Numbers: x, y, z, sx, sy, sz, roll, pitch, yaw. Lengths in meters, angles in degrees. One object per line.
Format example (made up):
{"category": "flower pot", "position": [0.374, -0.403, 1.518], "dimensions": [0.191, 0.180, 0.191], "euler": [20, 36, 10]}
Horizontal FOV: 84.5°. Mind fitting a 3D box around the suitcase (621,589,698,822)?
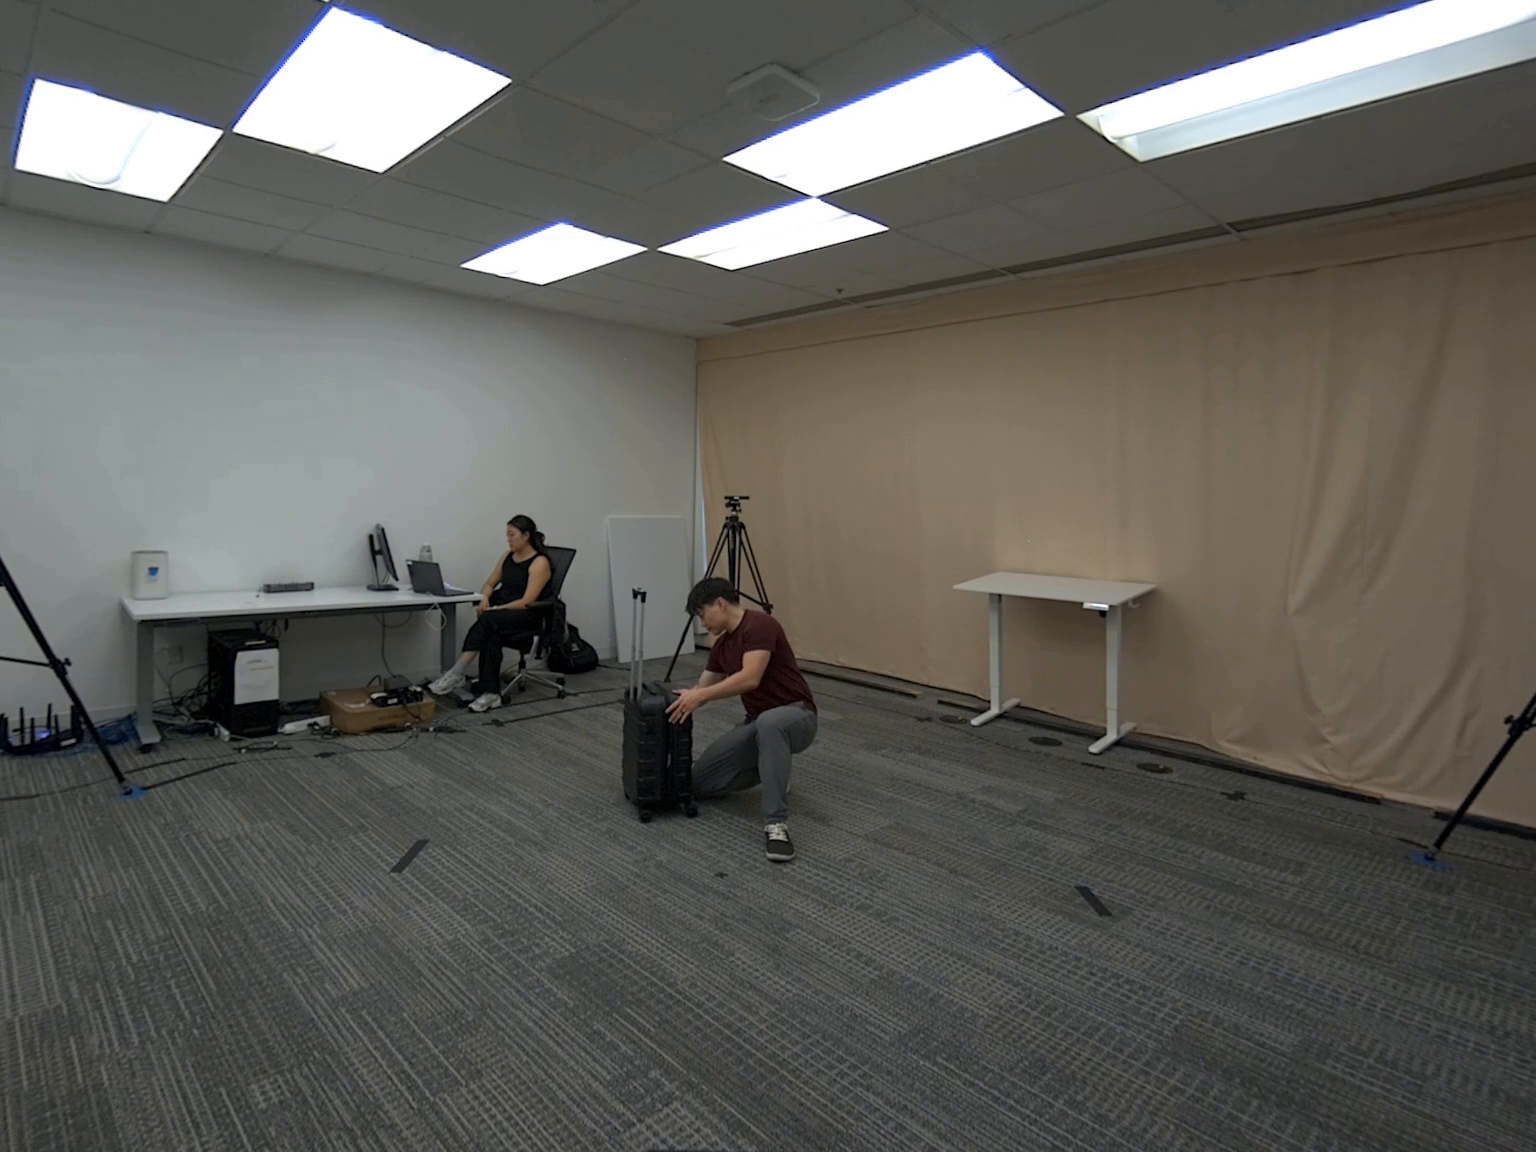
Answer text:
{"category": "suitcase", "position": [-0.497, 0.556, 3.752], "dimensions": [0.253, 0.975, 0.390], "euler": [1, 5, -18]}
